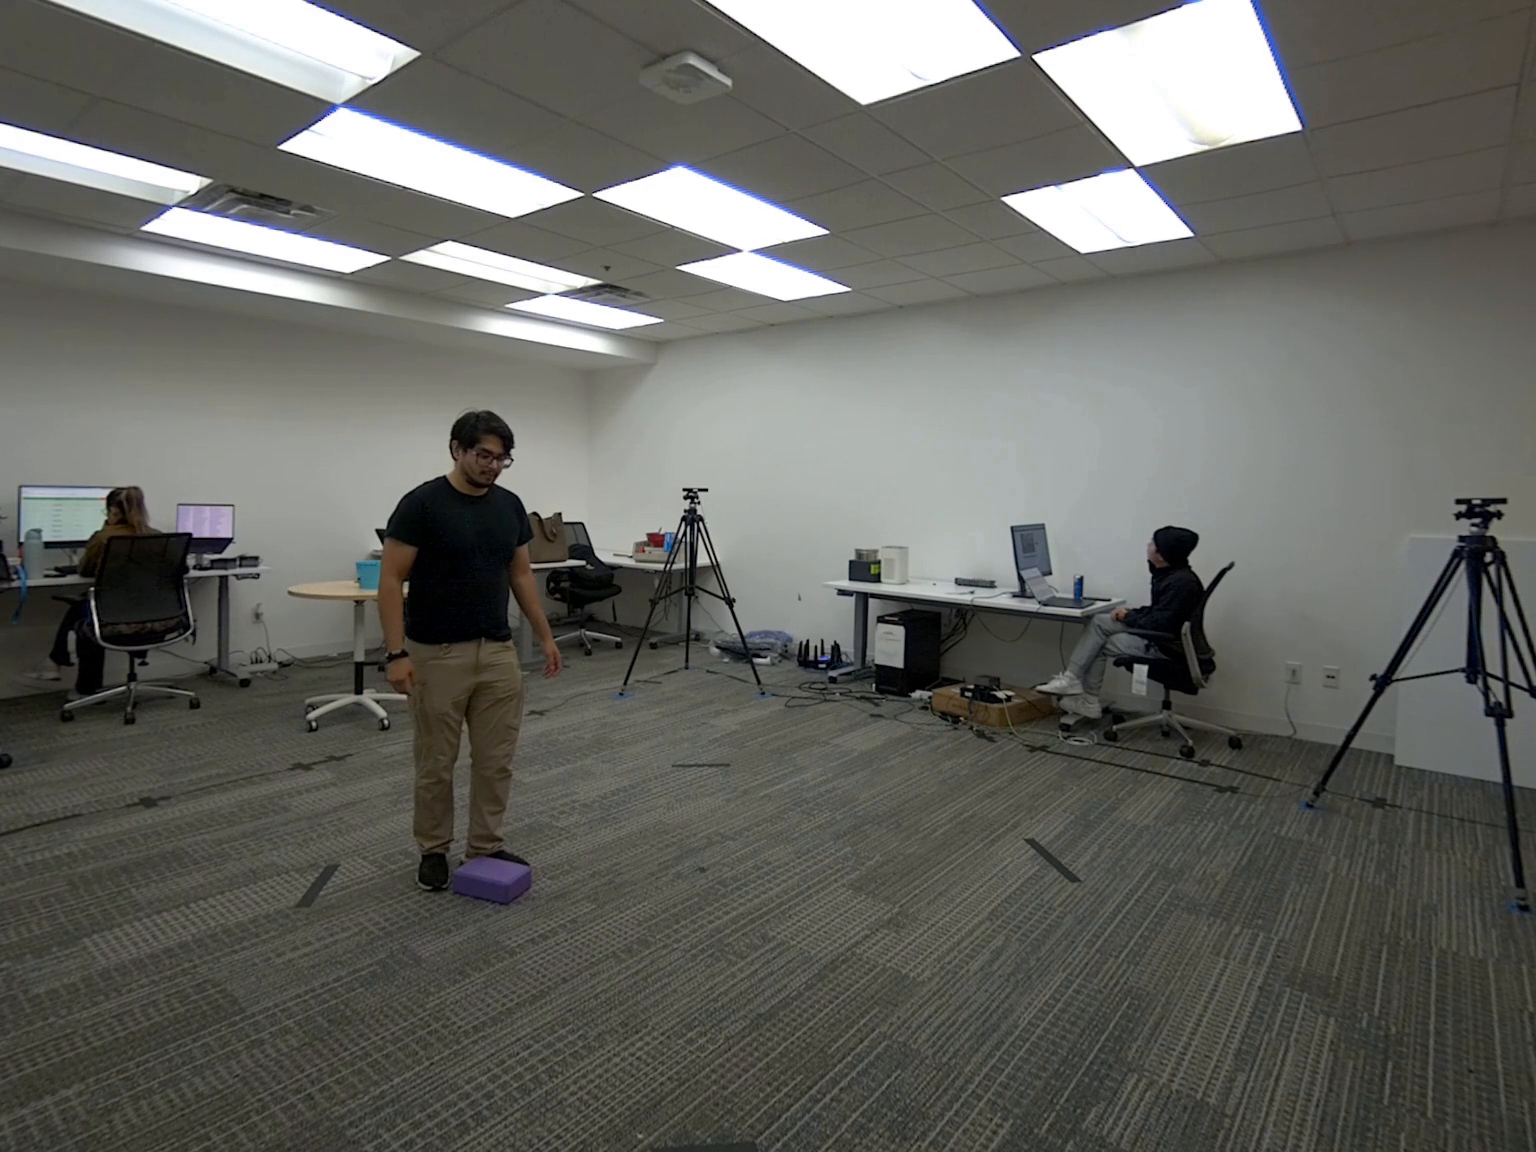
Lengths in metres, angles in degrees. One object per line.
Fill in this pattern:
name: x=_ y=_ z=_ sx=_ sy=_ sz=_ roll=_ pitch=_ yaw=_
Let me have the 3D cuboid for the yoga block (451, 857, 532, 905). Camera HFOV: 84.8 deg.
yoga block: x=-0.959 y=1.036 z=2.914 sx=0.234 sy=0.076 sz=0.146 roll=4 pitch=6 yaw=20
